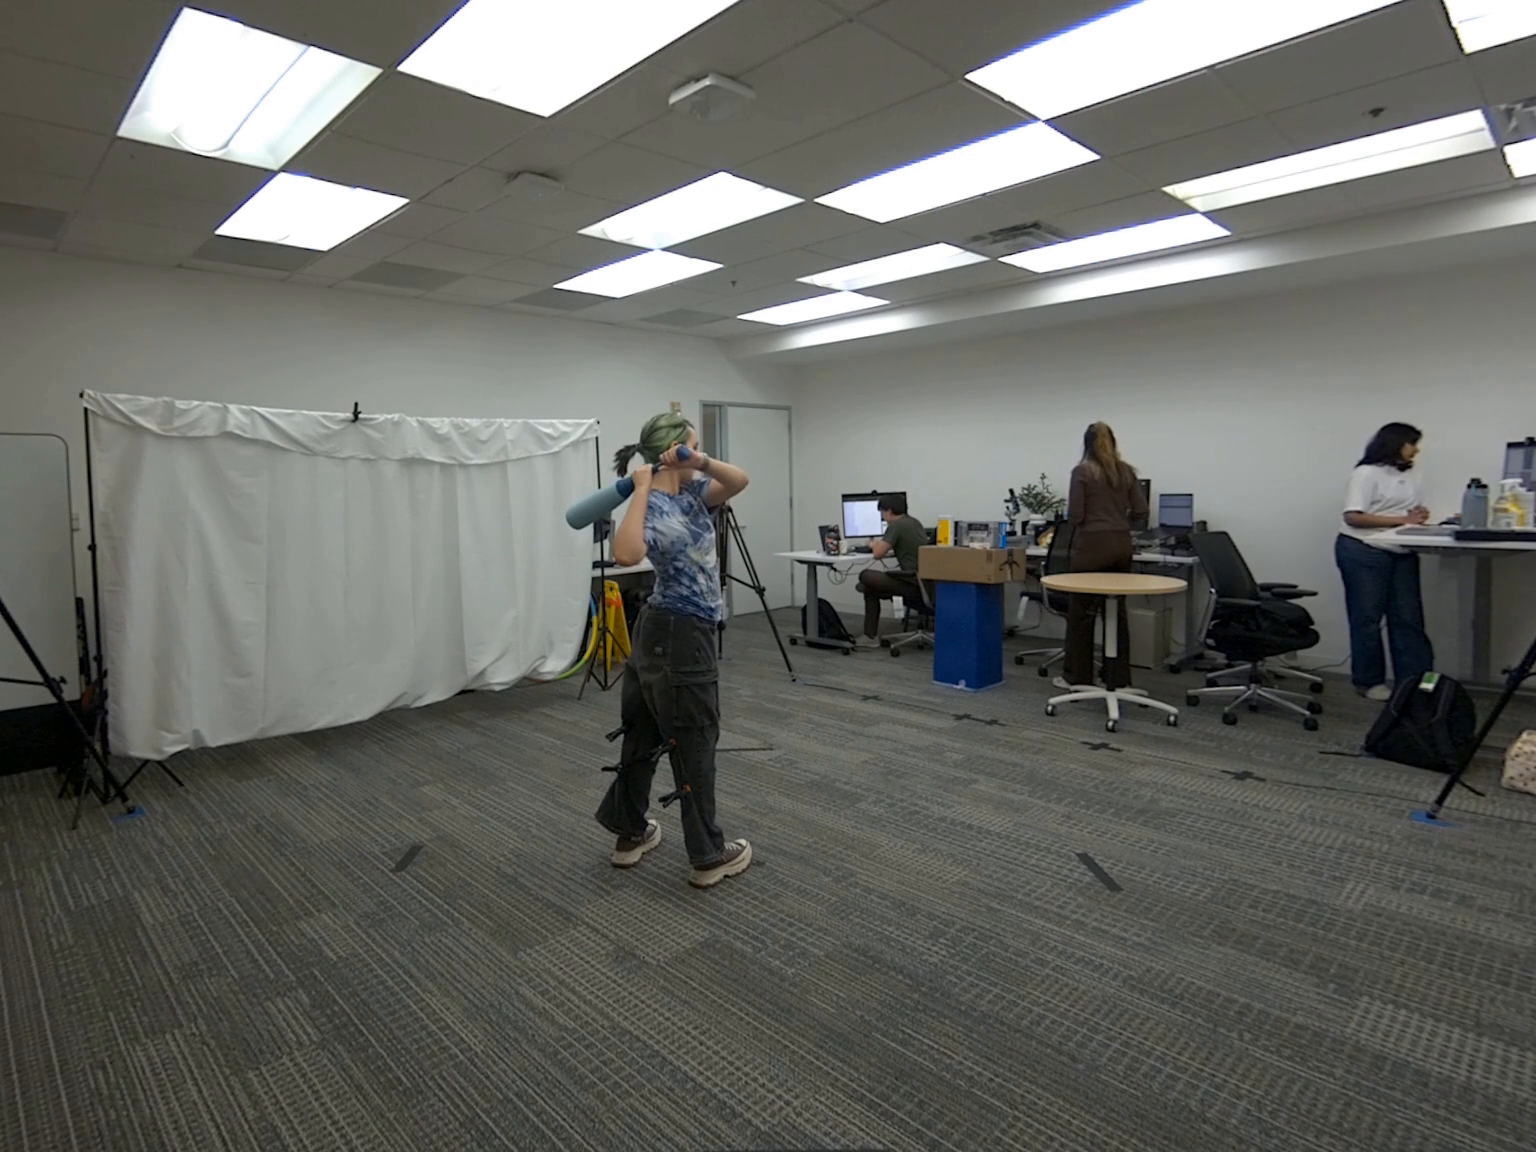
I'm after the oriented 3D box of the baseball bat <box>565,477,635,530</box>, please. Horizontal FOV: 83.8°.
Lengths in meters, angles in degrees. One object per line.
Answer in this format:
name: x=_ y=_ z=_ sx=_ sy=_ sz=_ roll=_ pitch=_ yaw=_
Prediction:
baseball bat: x=-0.470 y=-0.303 z=2.879 sx=0.549 sy=0.090 sz=0.087 roll=-26 pitch=-8 yaw=29
